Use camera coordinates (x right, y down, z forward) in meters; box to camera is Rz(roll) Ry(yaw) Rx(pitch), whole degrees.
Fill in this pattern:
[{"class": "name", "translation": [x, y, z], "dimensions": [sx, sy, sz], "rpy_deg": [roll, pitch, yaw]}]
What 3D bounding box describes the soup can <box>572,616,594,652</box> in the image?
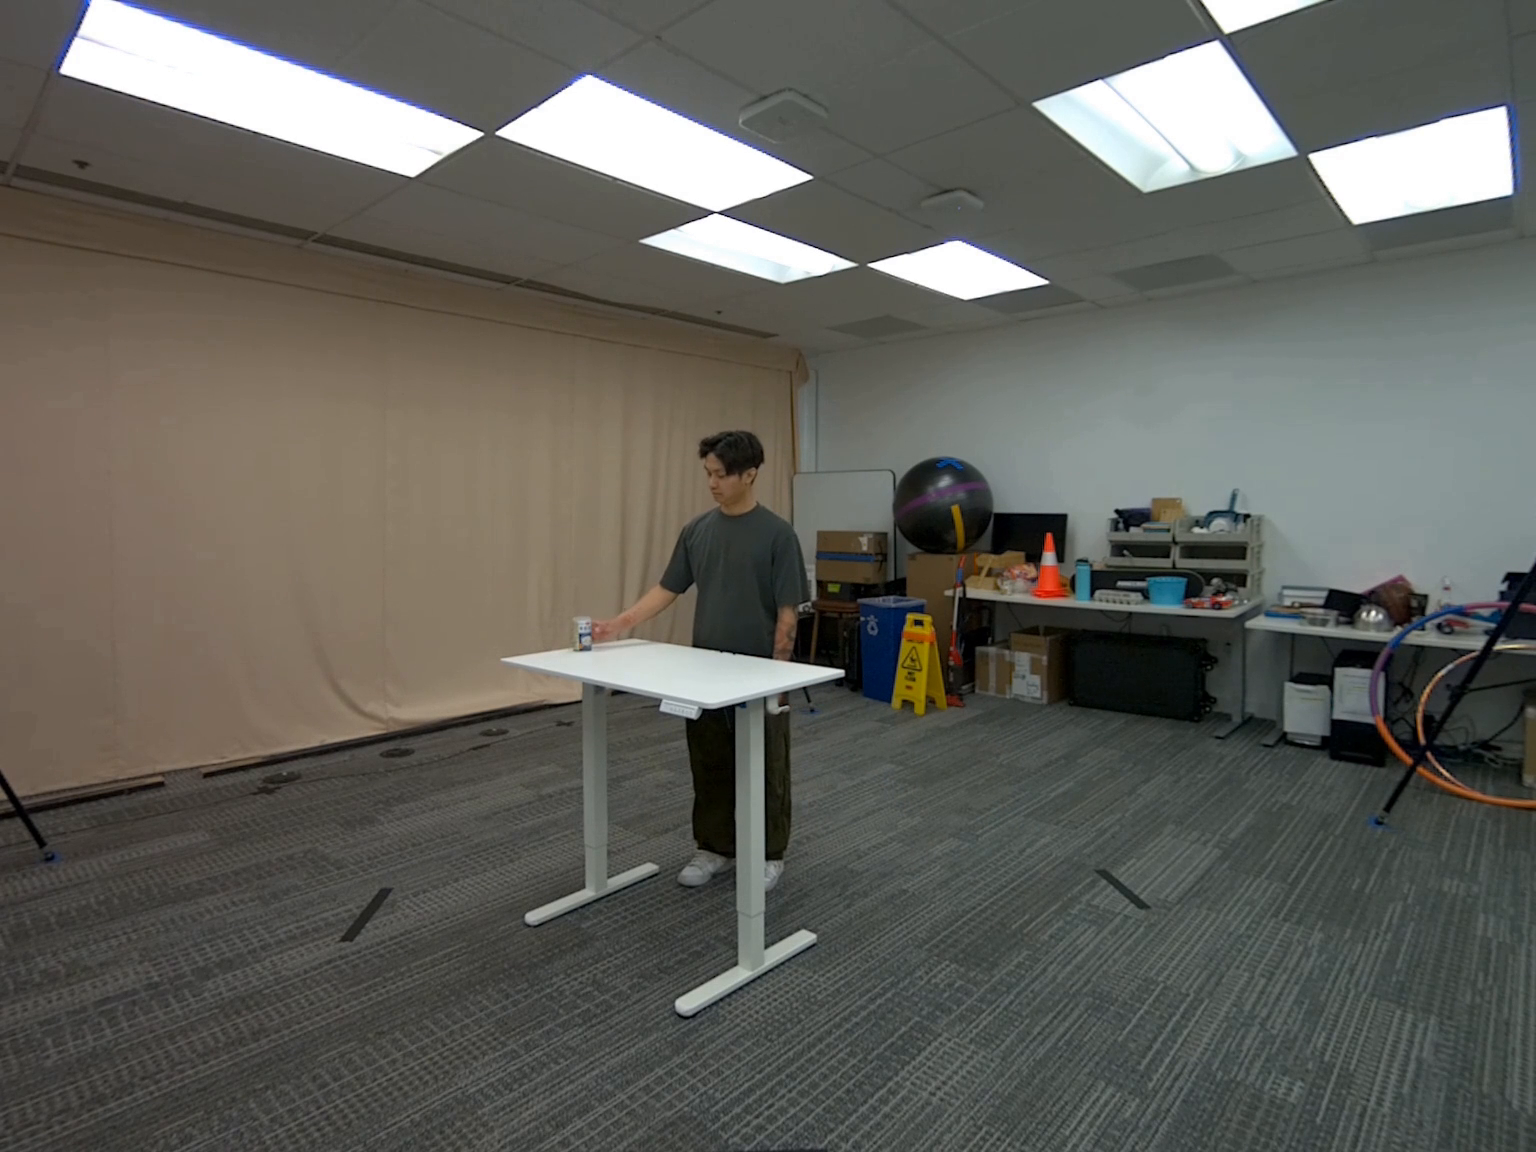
[{"class": "soup can", "translation": [-0.663, 0.211, 3.012], "dimensions": [0.067, 0.121, 0.067], "rpy_deg": [0, 0, -2]}]
